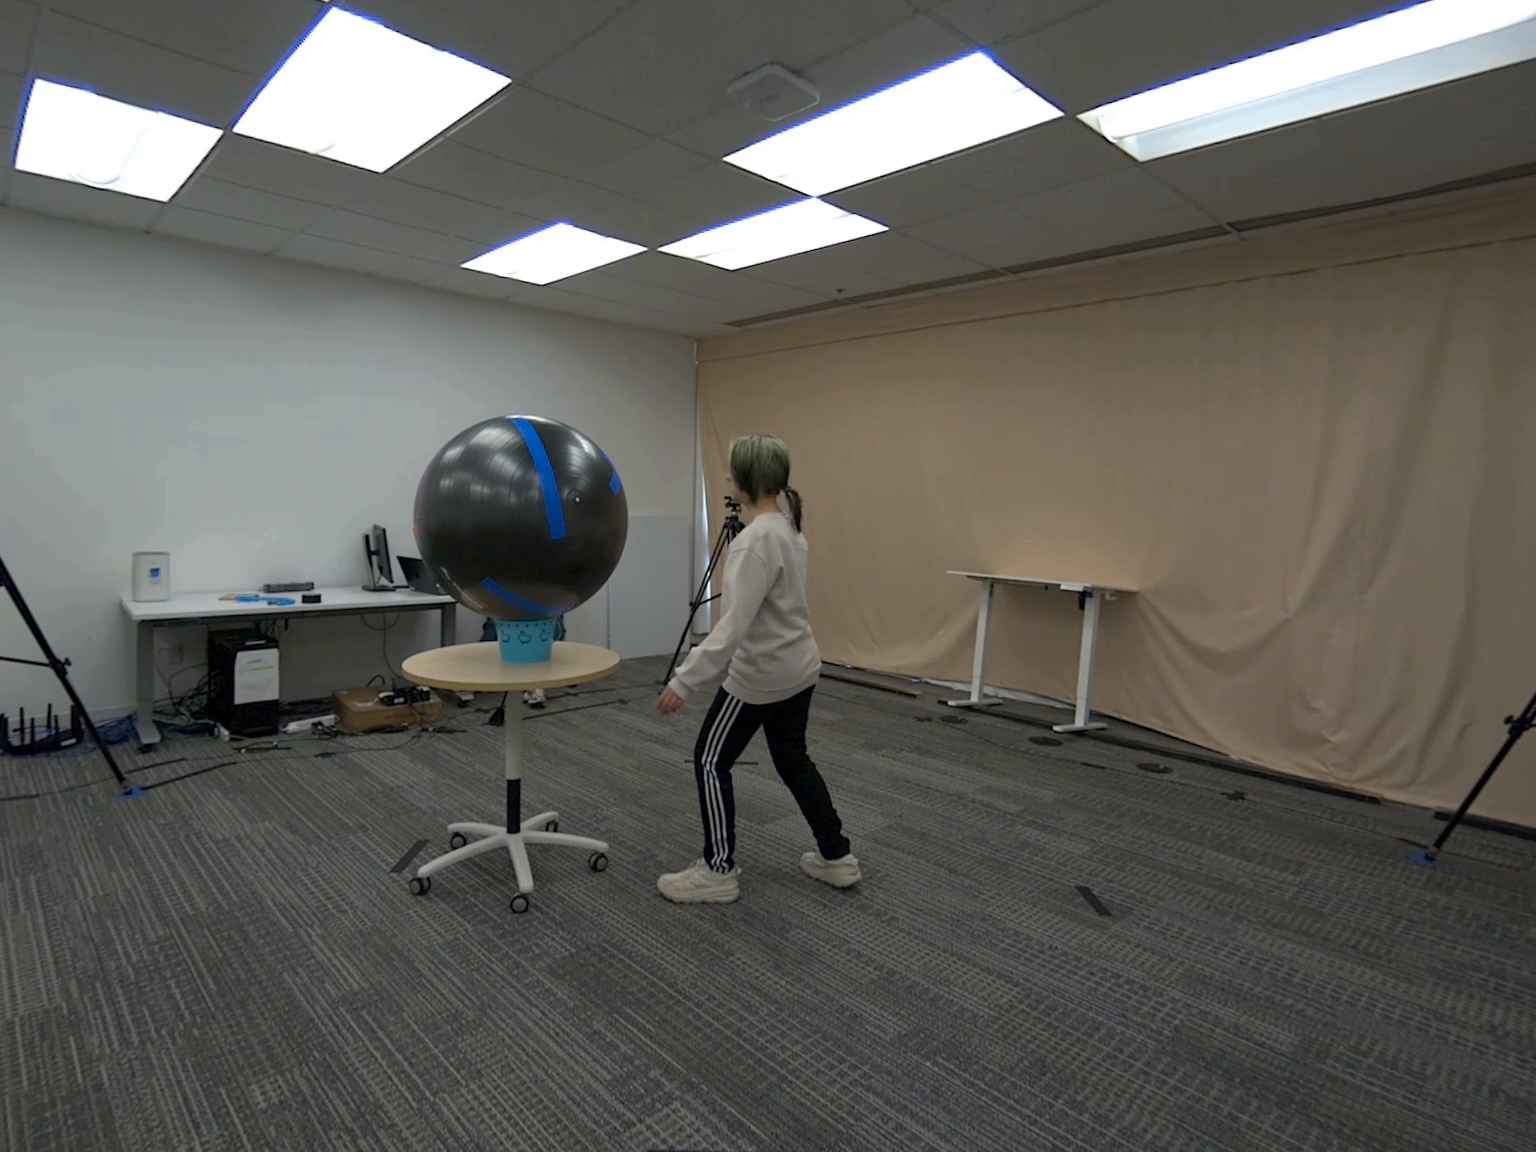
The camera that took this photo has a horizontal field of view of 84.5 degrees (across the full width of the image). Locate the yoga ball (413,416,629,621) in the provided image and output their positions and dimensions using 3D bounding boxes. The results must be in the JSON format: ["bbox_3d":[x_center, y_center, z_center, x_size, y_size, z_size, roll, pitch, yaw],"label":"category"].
[{"bbox_3d":[-0.902,-0.204,3.084,0.757,0.756,0.761,1,4,-1],"label":"yoga ball"}]
